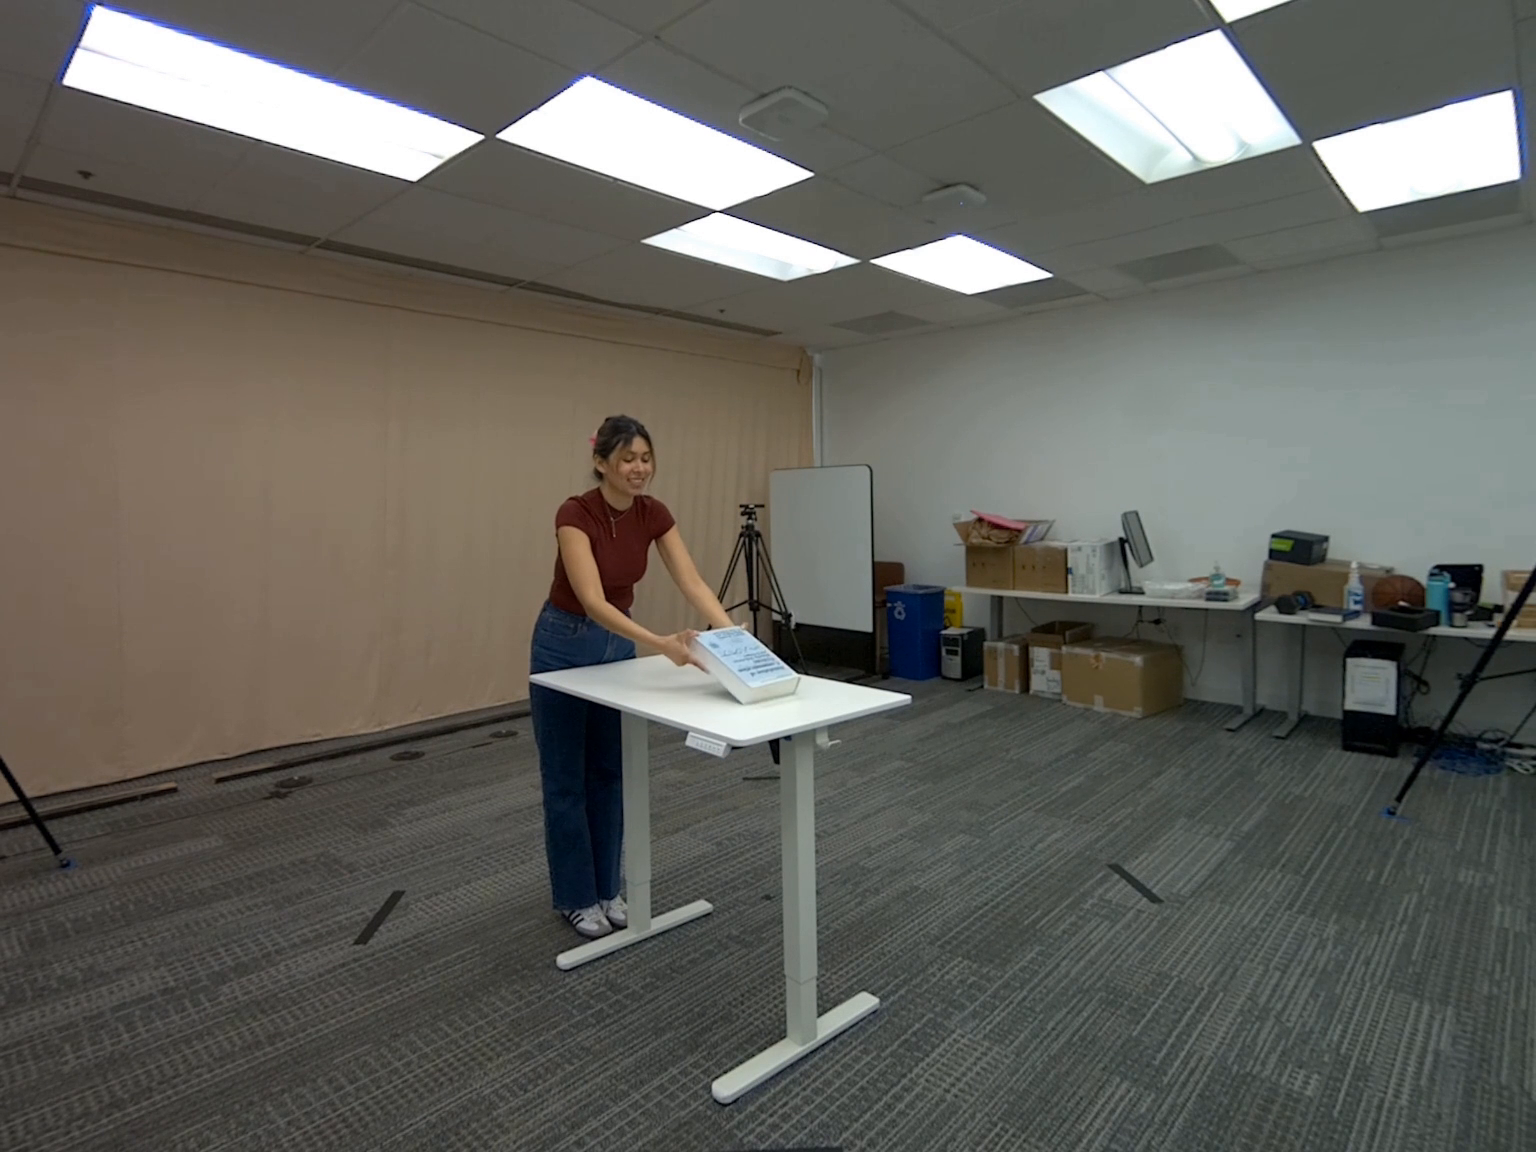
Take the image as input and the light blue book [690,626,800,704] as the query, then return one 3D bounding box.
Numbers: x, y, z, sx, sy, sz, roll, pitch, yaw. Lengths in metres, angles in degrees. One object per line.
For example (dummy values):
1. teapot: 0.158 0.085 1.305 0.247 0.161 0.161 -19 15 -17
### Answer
1. light blue book: -0.055 0.224 2.270 0.185 0.059 0.271 -4 30 -42
